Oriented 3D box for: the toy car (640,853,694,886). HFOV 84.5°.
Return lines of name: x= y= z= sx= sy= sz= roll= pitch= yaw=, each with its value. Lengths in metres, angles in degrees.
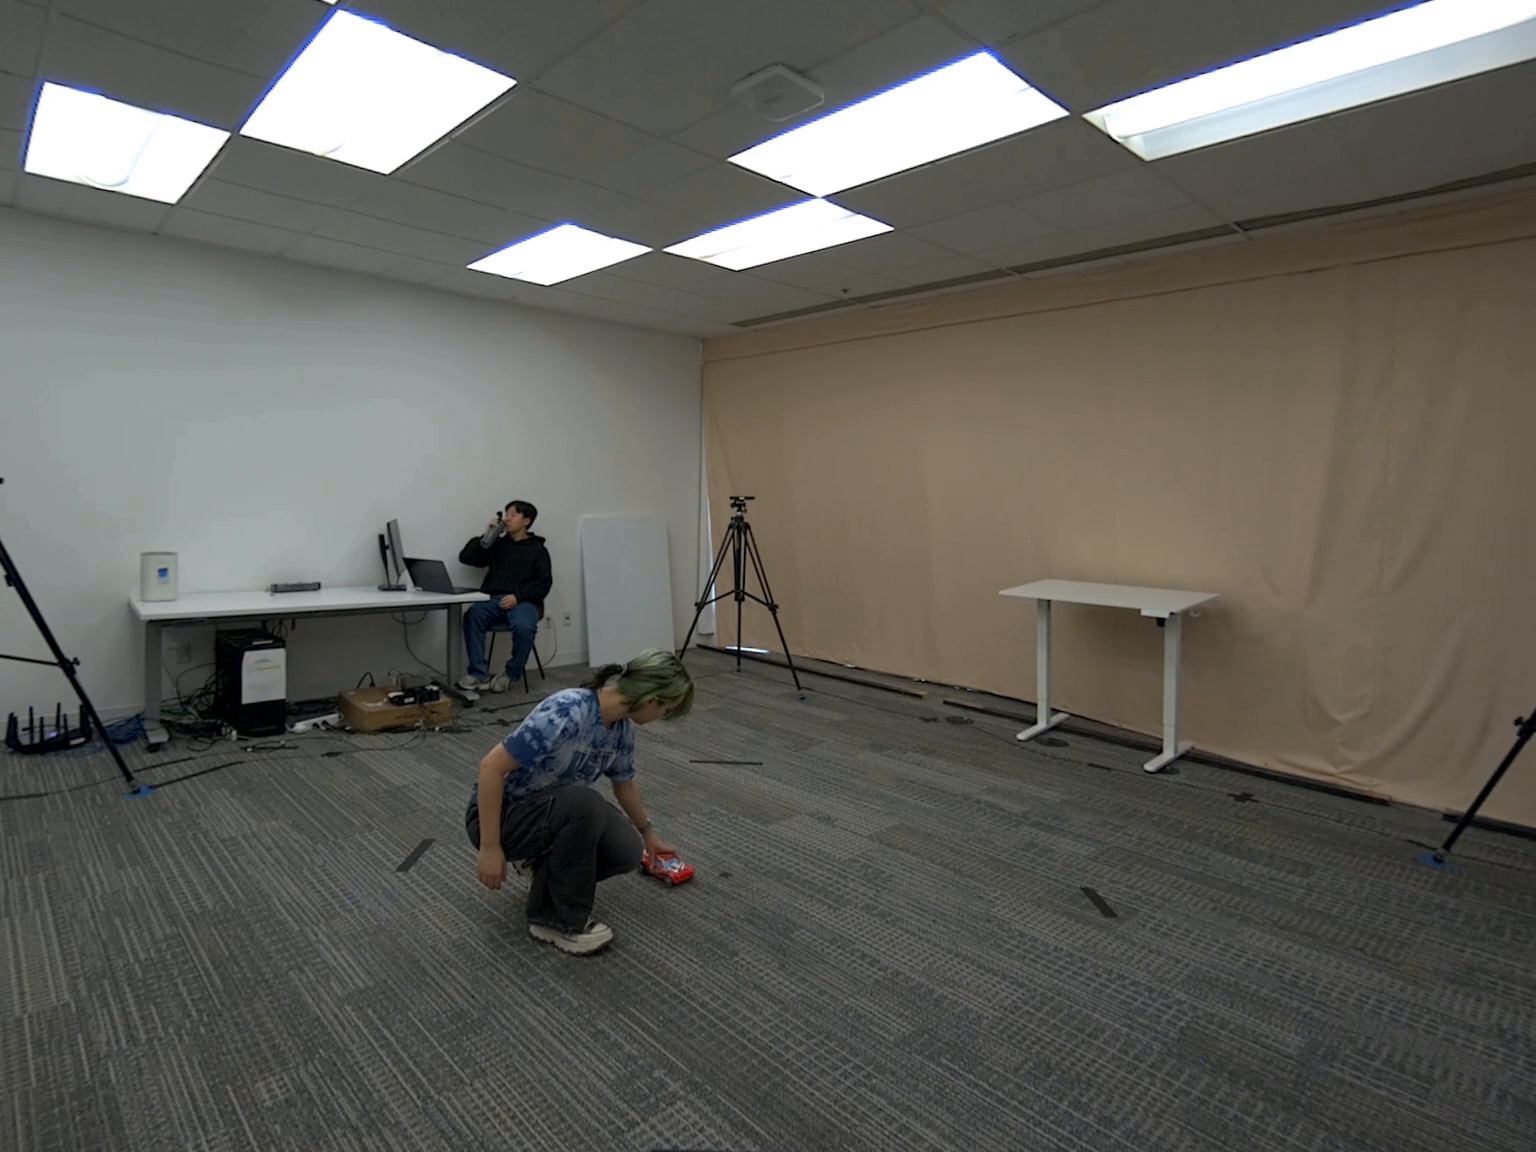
toy car: x=-0.399 y=1.069 z=3.103 sx=0.127 sy=0.082 sz=0.262 roll=-5 pitch=17 yaw=-45
